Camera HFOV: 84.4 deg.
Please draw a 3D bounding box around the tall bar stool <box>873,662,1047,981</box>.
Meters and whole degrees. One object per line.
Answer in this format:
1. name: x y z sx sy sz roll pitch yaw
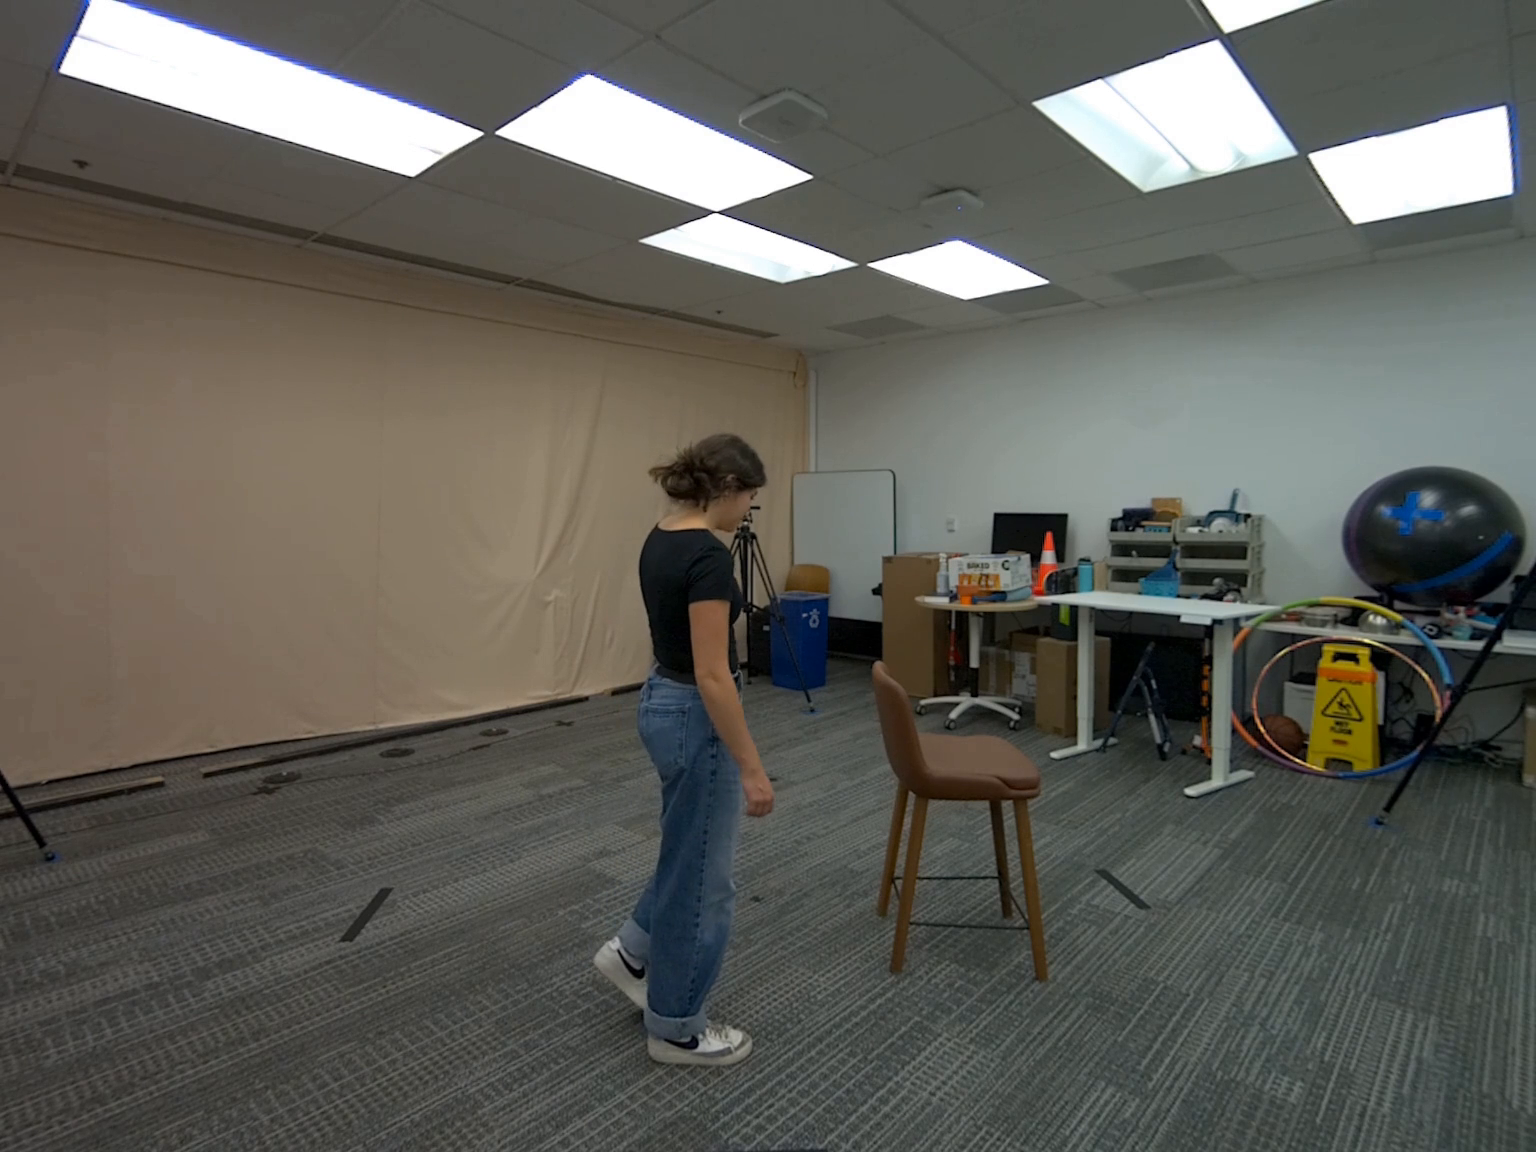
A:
1. tall bar stool: 0.598 0.738 2.650 0.470 0.888 0.455 -1 3 4
